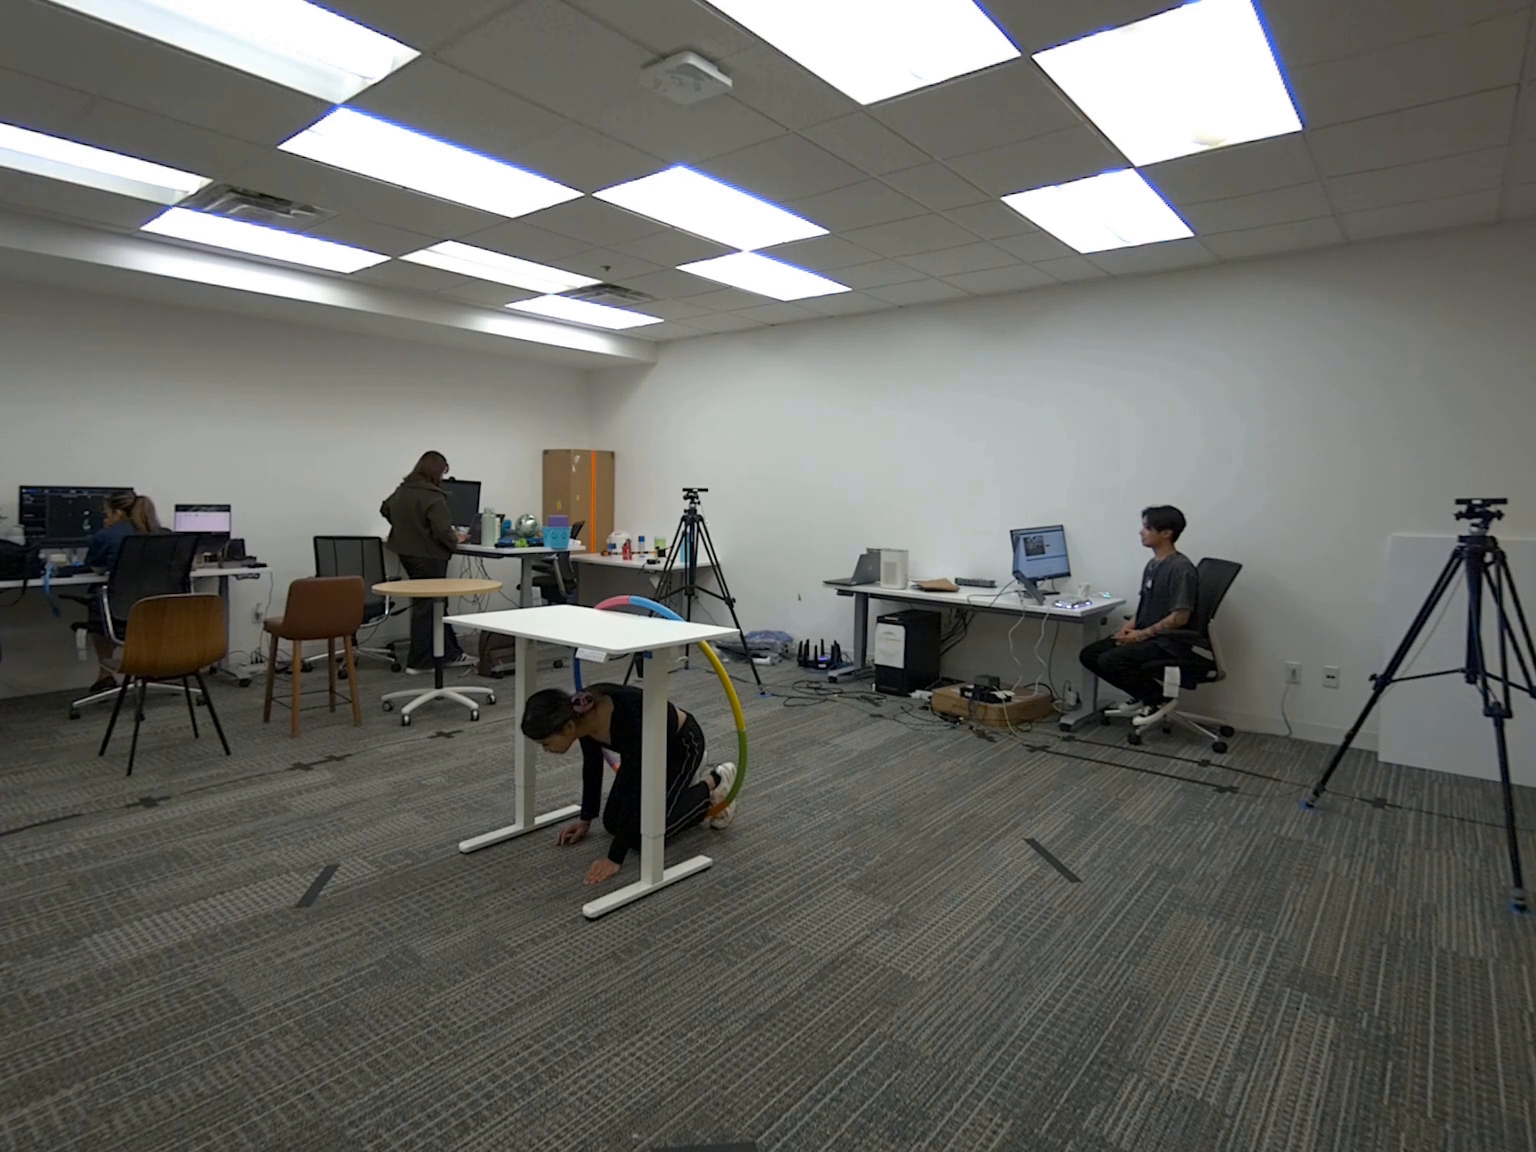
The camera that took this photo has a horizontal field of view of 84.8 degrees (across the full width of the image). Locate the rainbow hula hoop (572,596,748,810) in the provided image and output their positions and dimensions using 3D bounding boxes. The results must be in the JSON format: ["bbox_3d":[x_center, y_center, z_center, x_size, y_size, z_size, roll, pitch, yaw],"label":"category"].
[{"bbox_3d":[-0.487,0.554,3.533,1.011,0.963,0.035,4,19,40],"label":"rainbow hula hoop"}]
